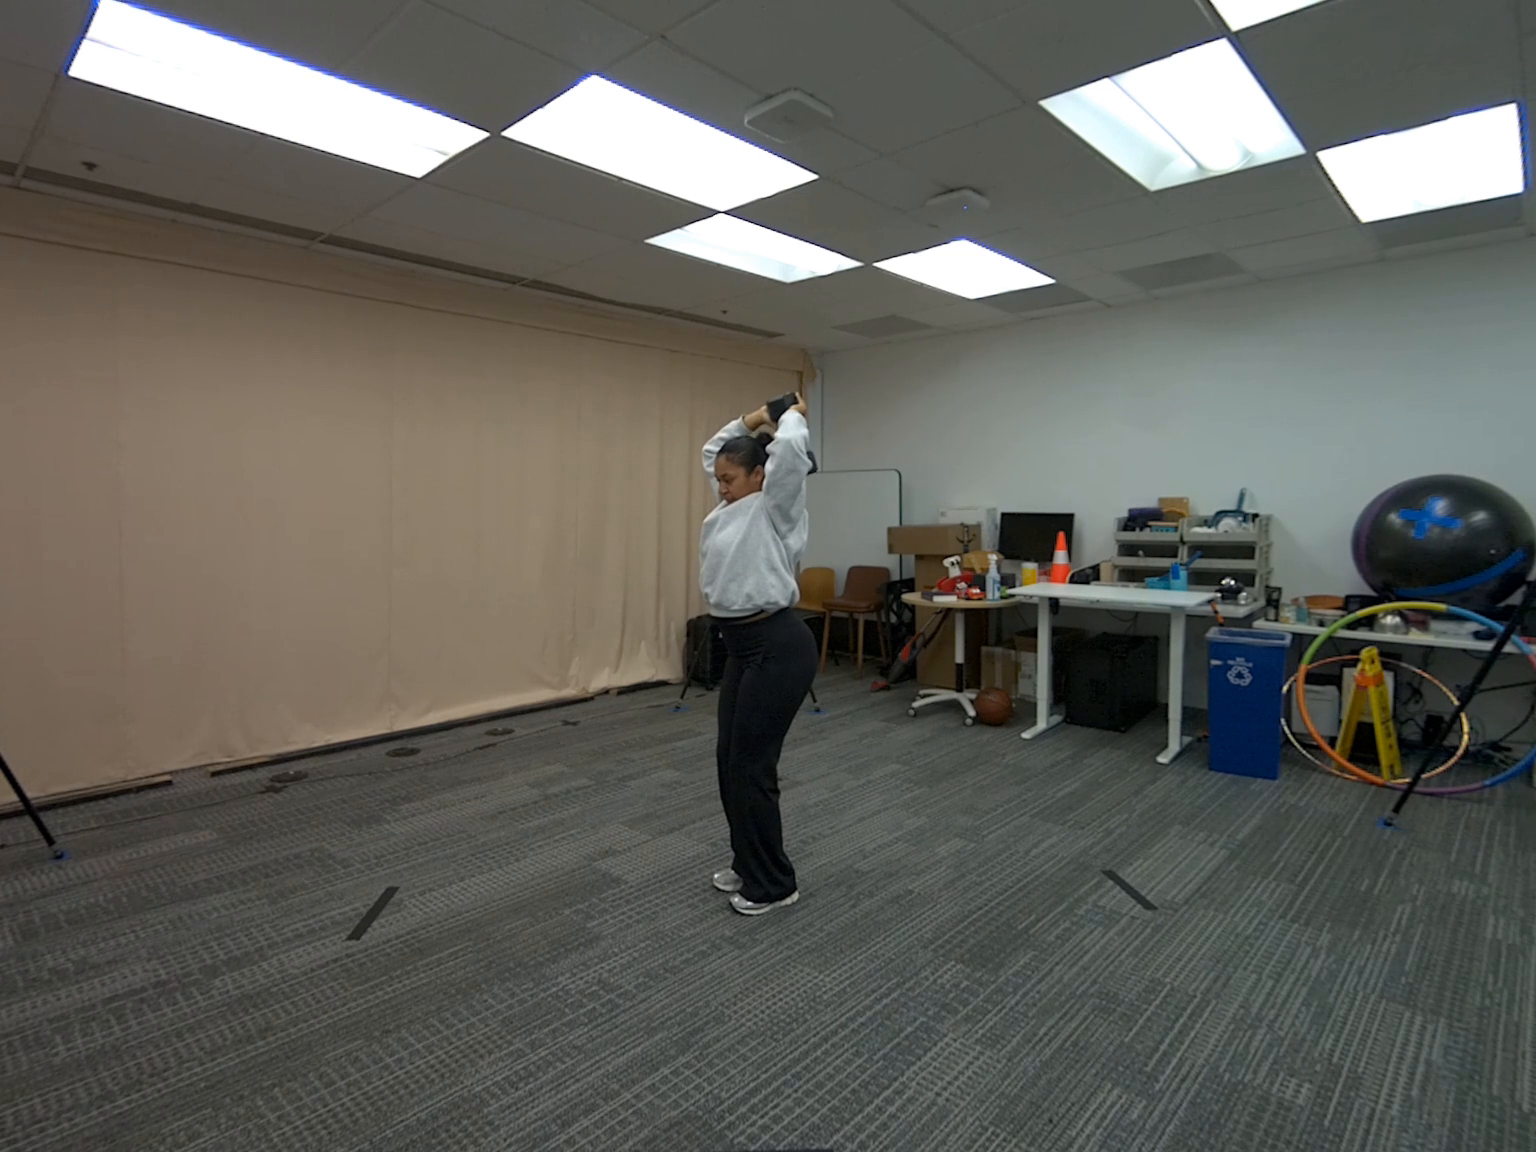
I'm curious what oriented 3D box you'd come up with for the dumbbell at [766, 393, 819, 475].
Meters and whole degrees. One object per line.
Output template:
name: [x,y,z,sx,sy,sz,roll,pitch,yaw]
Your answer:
dumbbell: [0.087,-0.496,2.969,0.125,0.292,0.107,-11,7,25]
